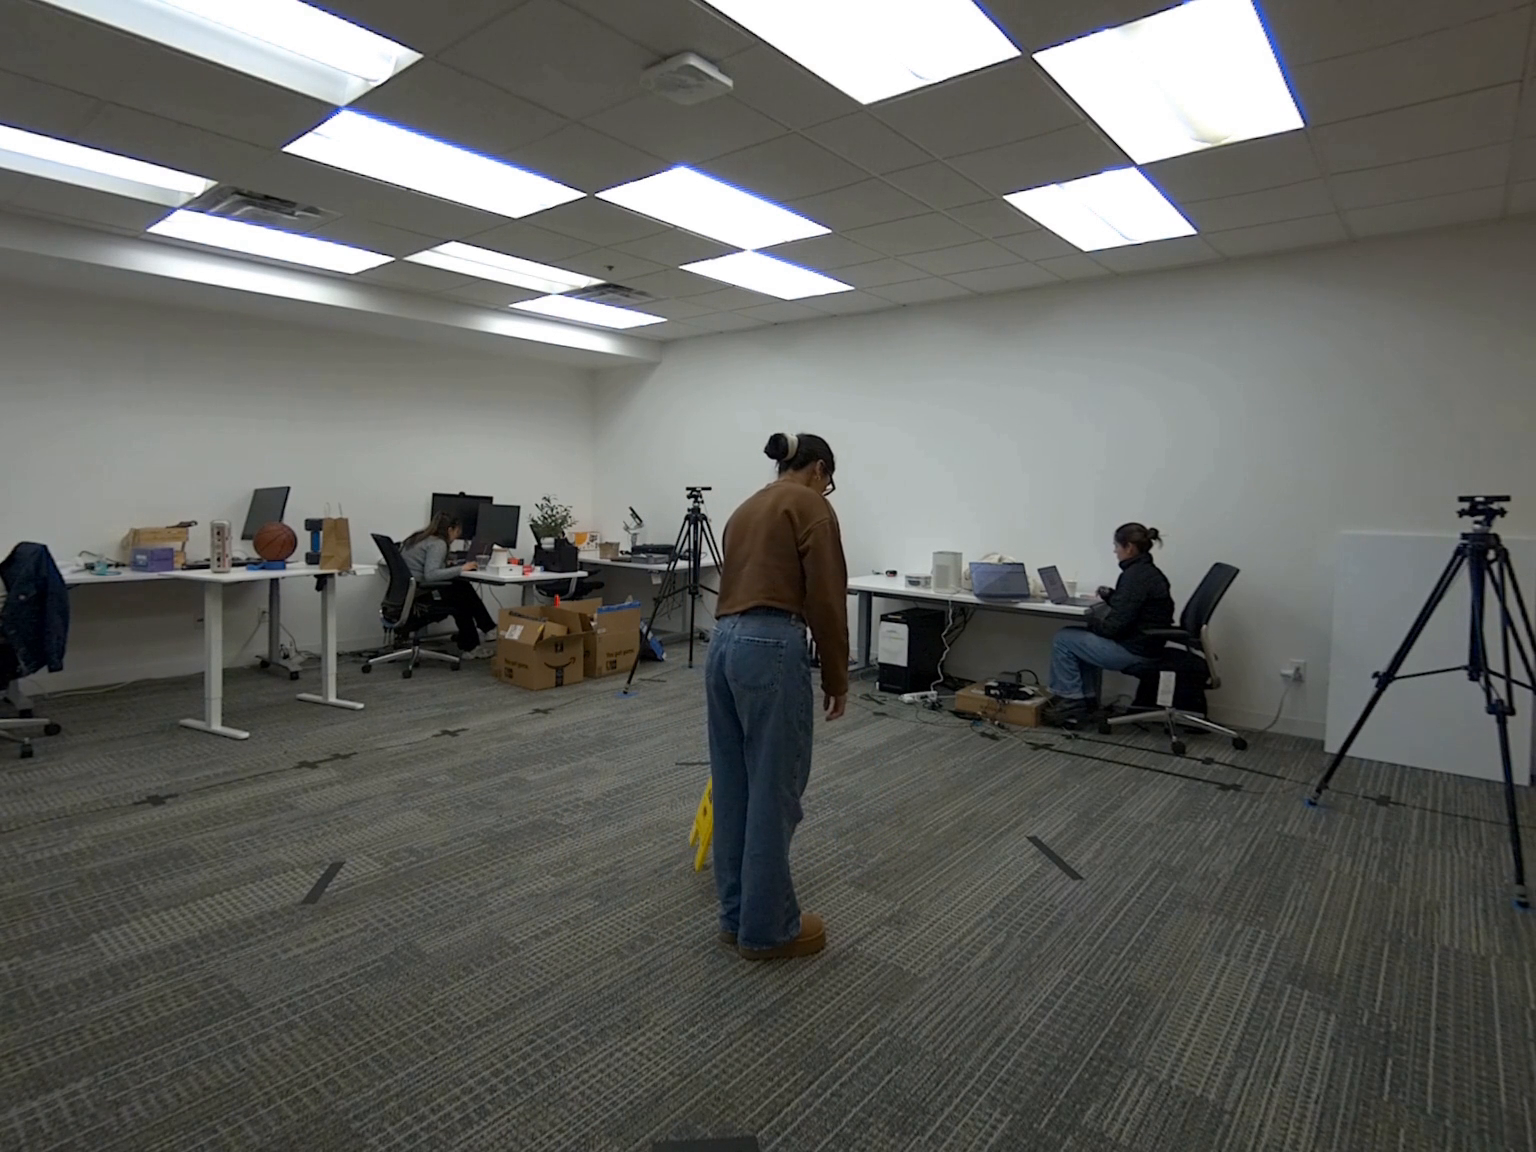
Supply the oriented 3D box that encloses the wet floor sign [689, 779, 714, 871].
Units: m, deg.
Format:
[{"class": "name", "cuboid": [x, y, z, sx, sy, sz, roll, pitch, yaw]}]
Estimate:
[{"class": "wet floor sign", "cuboid": [-0.093, 0.688, 3.037, 0.286, 0.644, 0.286, 7, 4, -11]}]
